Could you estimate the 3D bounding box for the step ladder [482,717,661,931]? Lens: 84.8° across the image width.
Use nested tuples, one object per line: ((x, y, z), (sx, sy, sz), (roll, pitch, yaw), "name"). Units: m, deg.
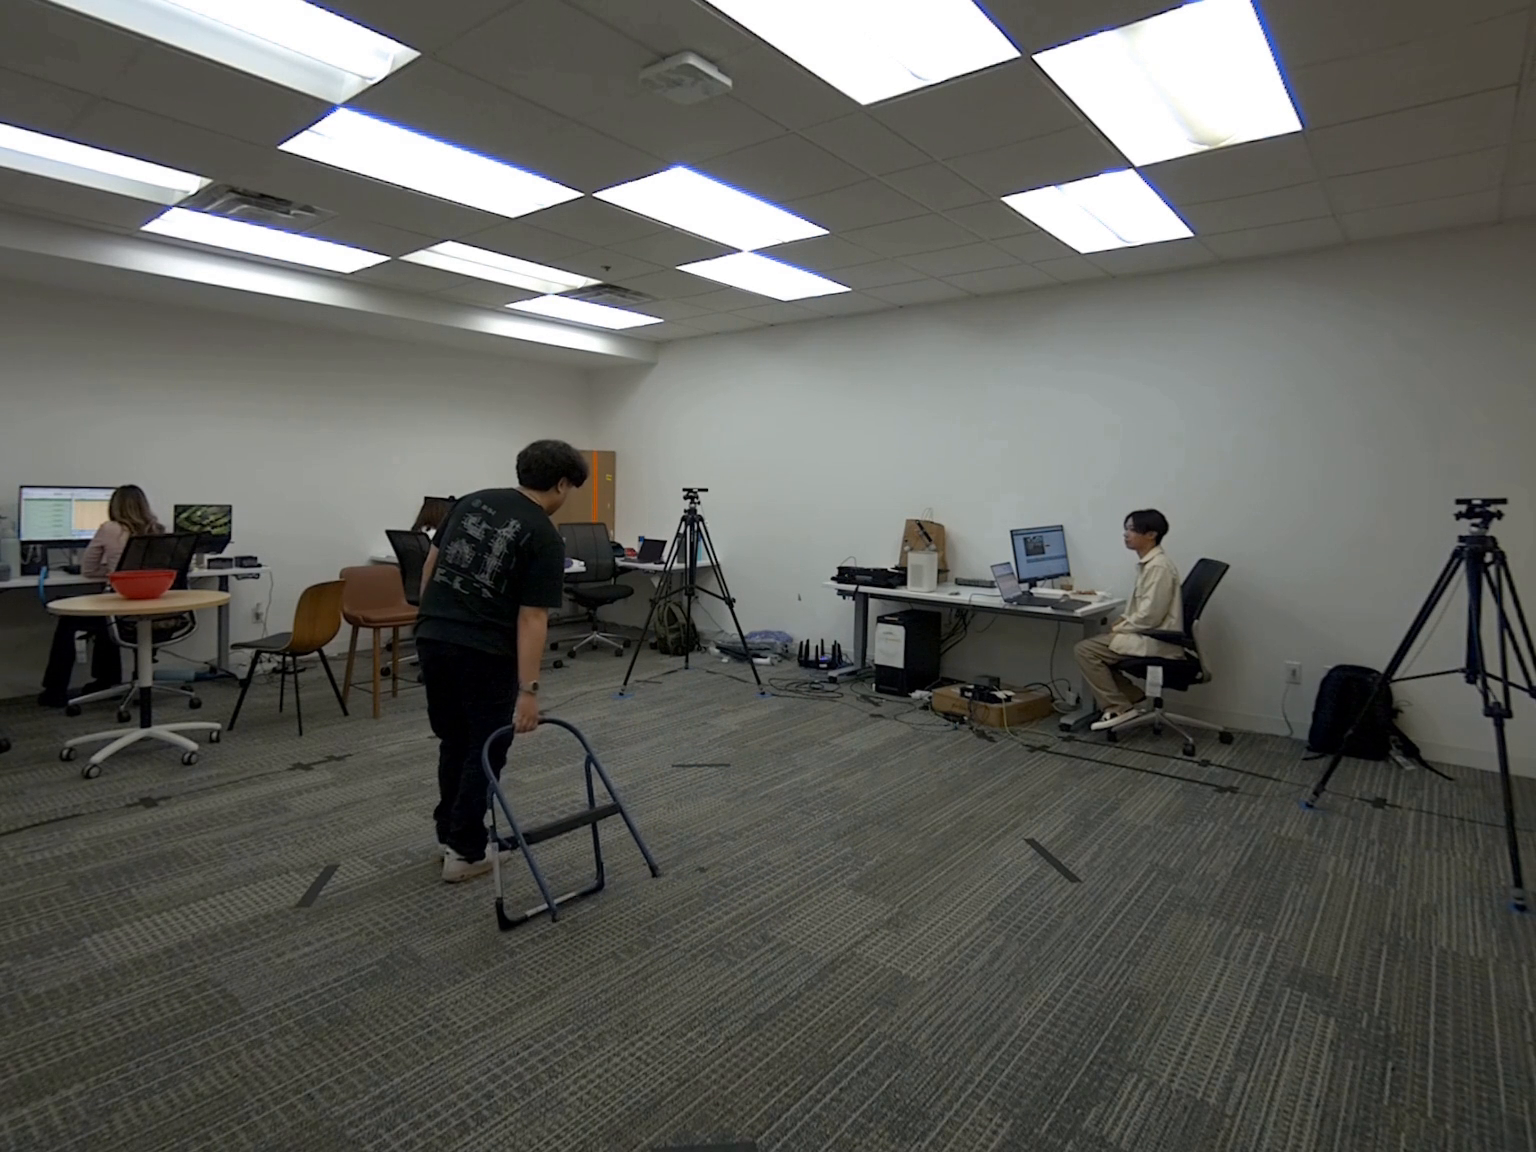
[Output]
((-0.692, 0.754, 2.772), (0.354, 0.617, 0.418), (-29, -17, 38), "step ladder")
